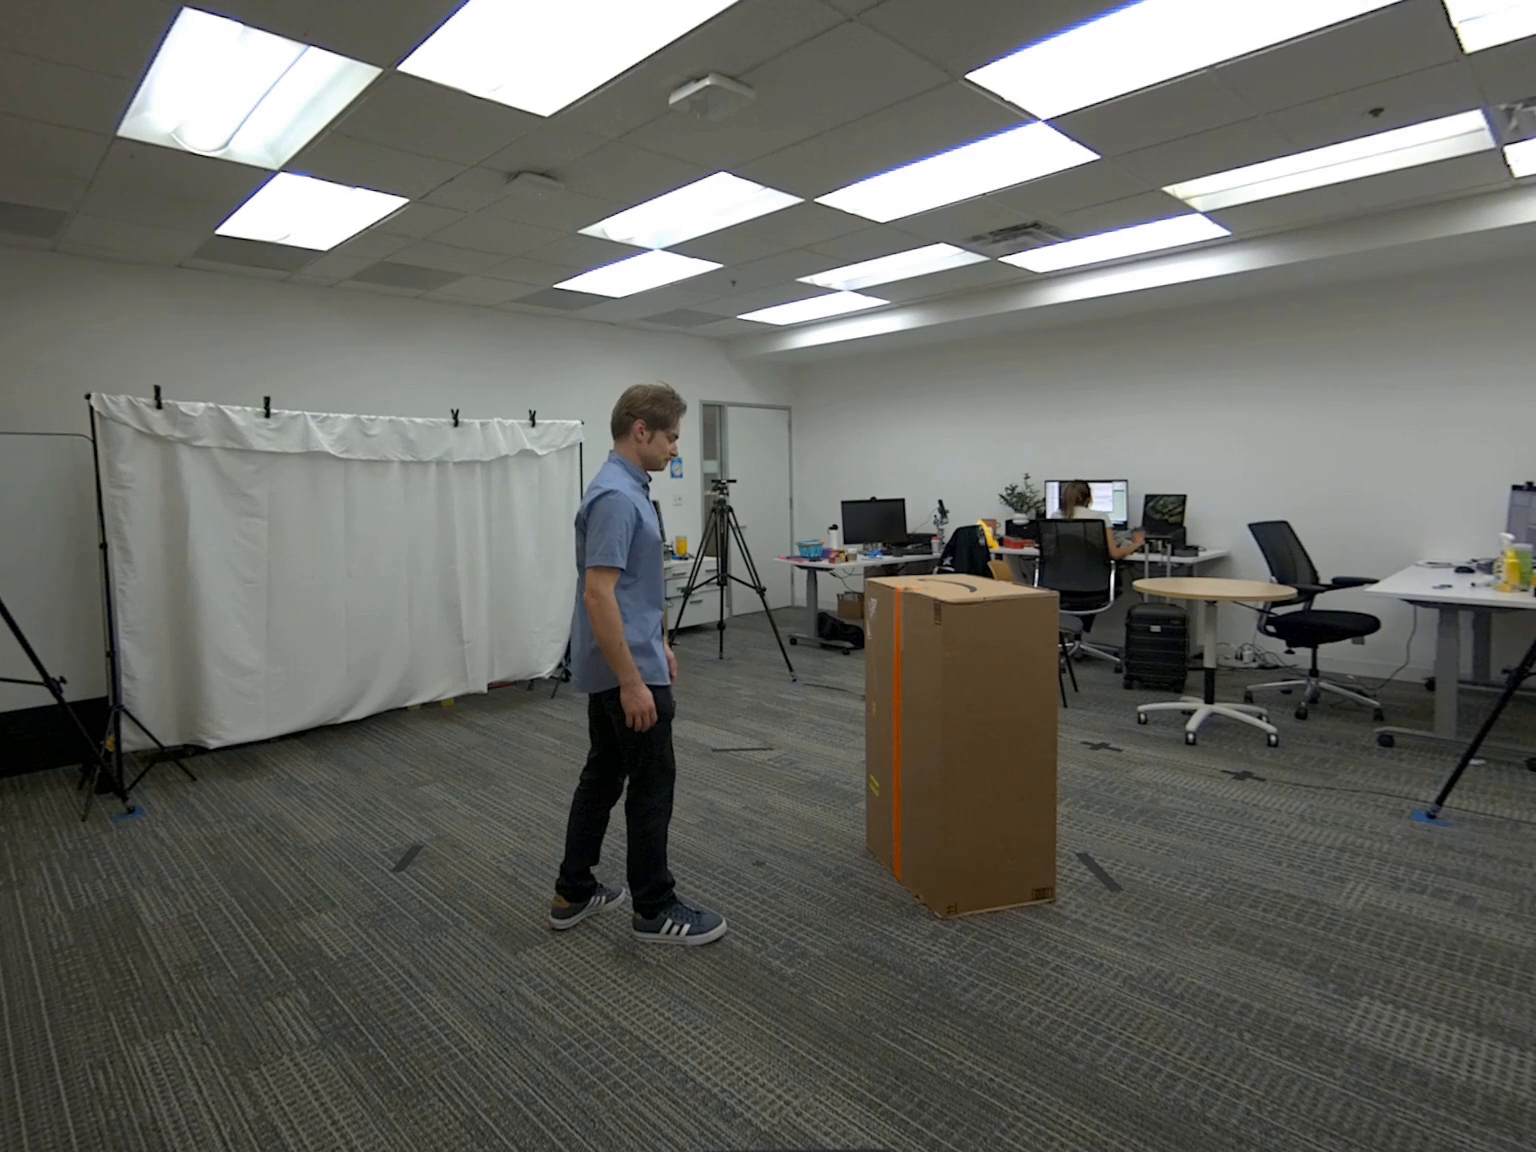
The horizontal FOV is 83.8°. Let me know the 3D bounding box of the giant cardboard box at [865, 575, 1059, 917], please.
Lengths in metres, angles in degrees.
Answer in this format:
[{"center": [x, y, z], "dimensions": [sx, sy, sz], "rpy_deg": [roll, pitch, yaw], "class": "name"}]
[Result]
[{"center": [0.653, 0.543, 2.983], "dimensions": [0.440, 1.023, 0.595], "rpy_deg": [-1, 5, -18], "class": "giant cardboard box"}]
